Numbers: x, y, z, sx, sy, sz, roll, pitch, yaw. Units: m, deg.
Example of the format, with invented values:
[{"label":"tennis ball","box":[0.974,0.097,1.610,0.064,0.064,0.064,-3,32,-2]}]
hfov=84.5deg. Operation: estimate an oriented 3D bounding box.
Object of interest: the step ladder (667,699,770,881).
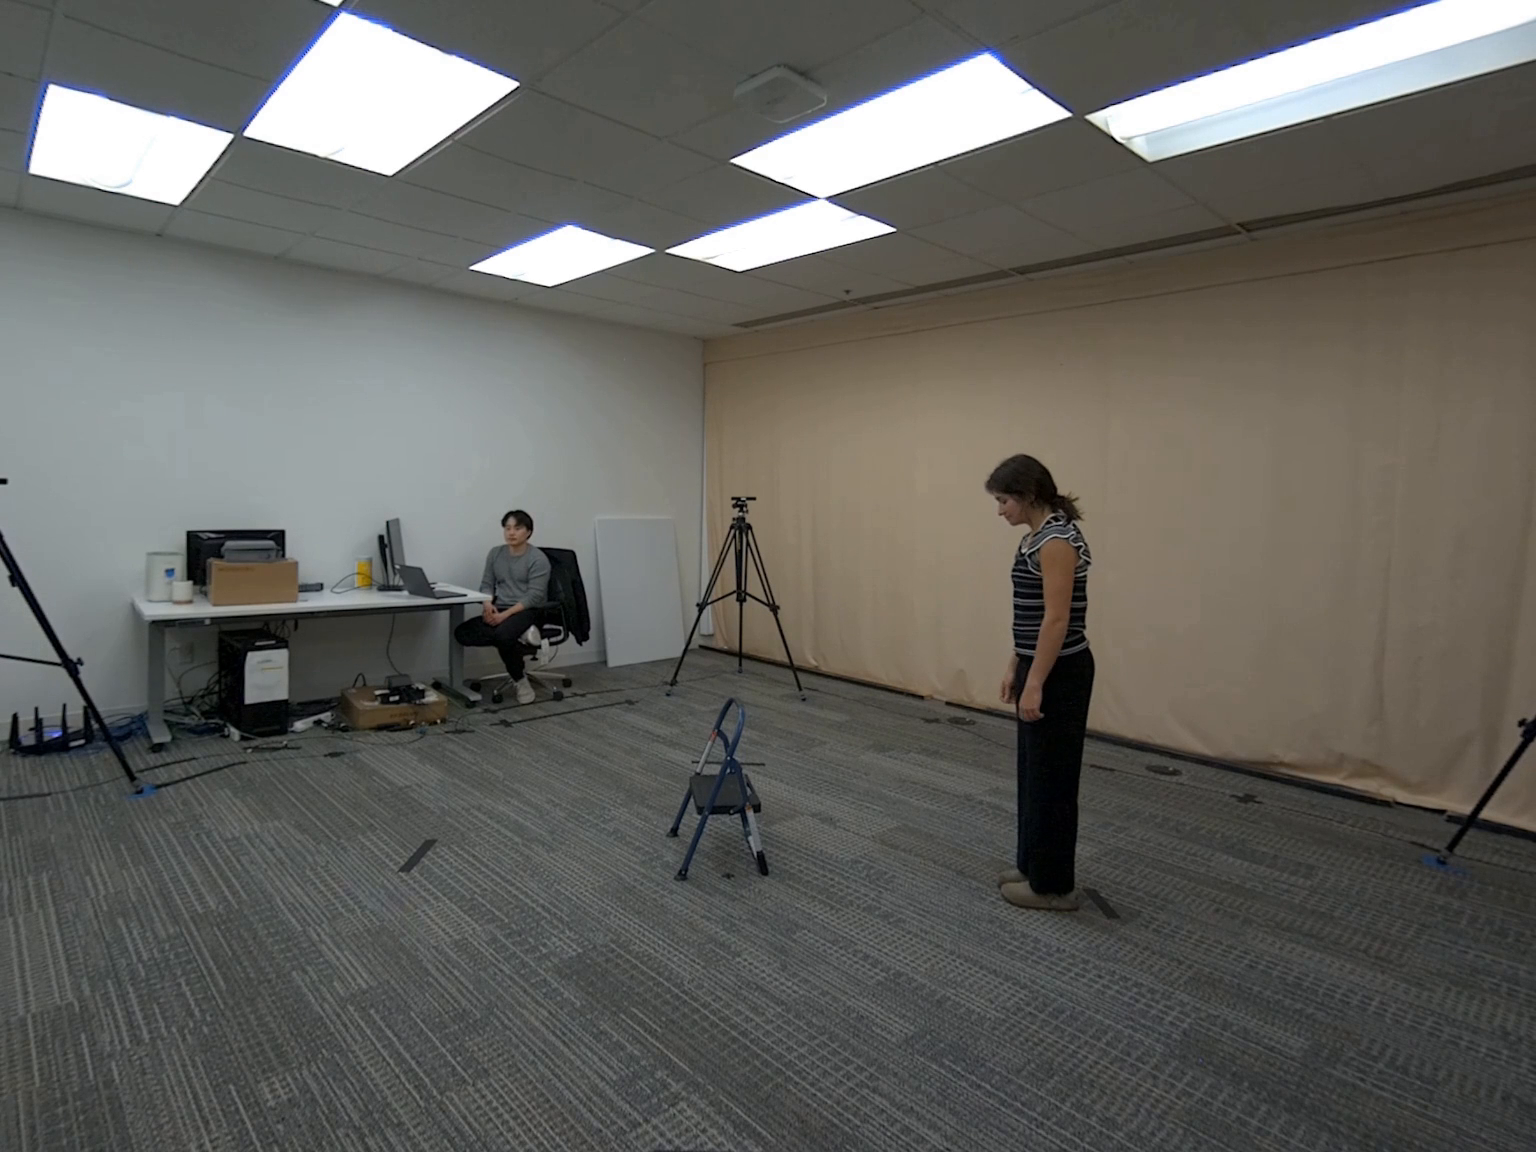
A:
[{"label":"step ladder","box":[-0.196,0.786,3.273,0.346,0.605,0.435,1,3,-10]}]
